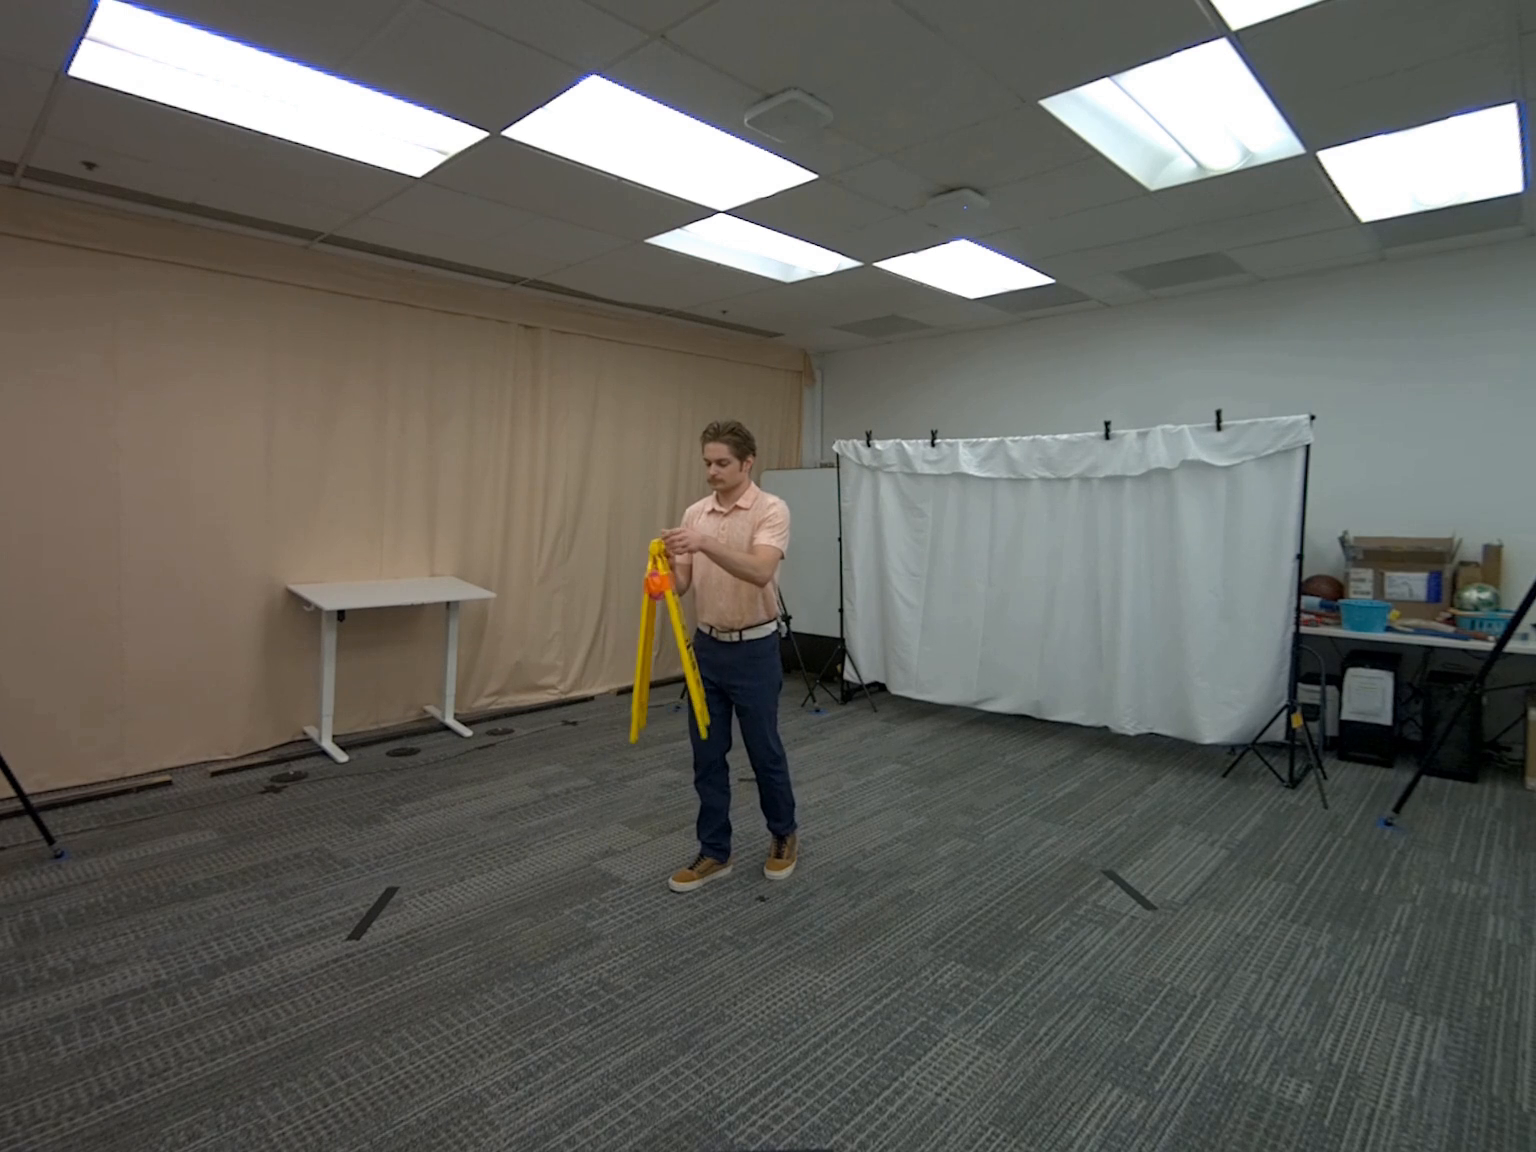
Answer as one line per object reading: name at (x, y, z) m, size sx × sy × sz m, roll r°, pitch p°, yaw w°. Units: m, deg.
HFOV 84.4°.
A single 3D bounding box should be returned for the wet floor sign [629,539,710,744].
wet floor sign at (-0.345, 0.203, 2.833) m, size 0.290 × 0.645 × 0.283 m, roll -4°, pitch 2°, yaw -1°
